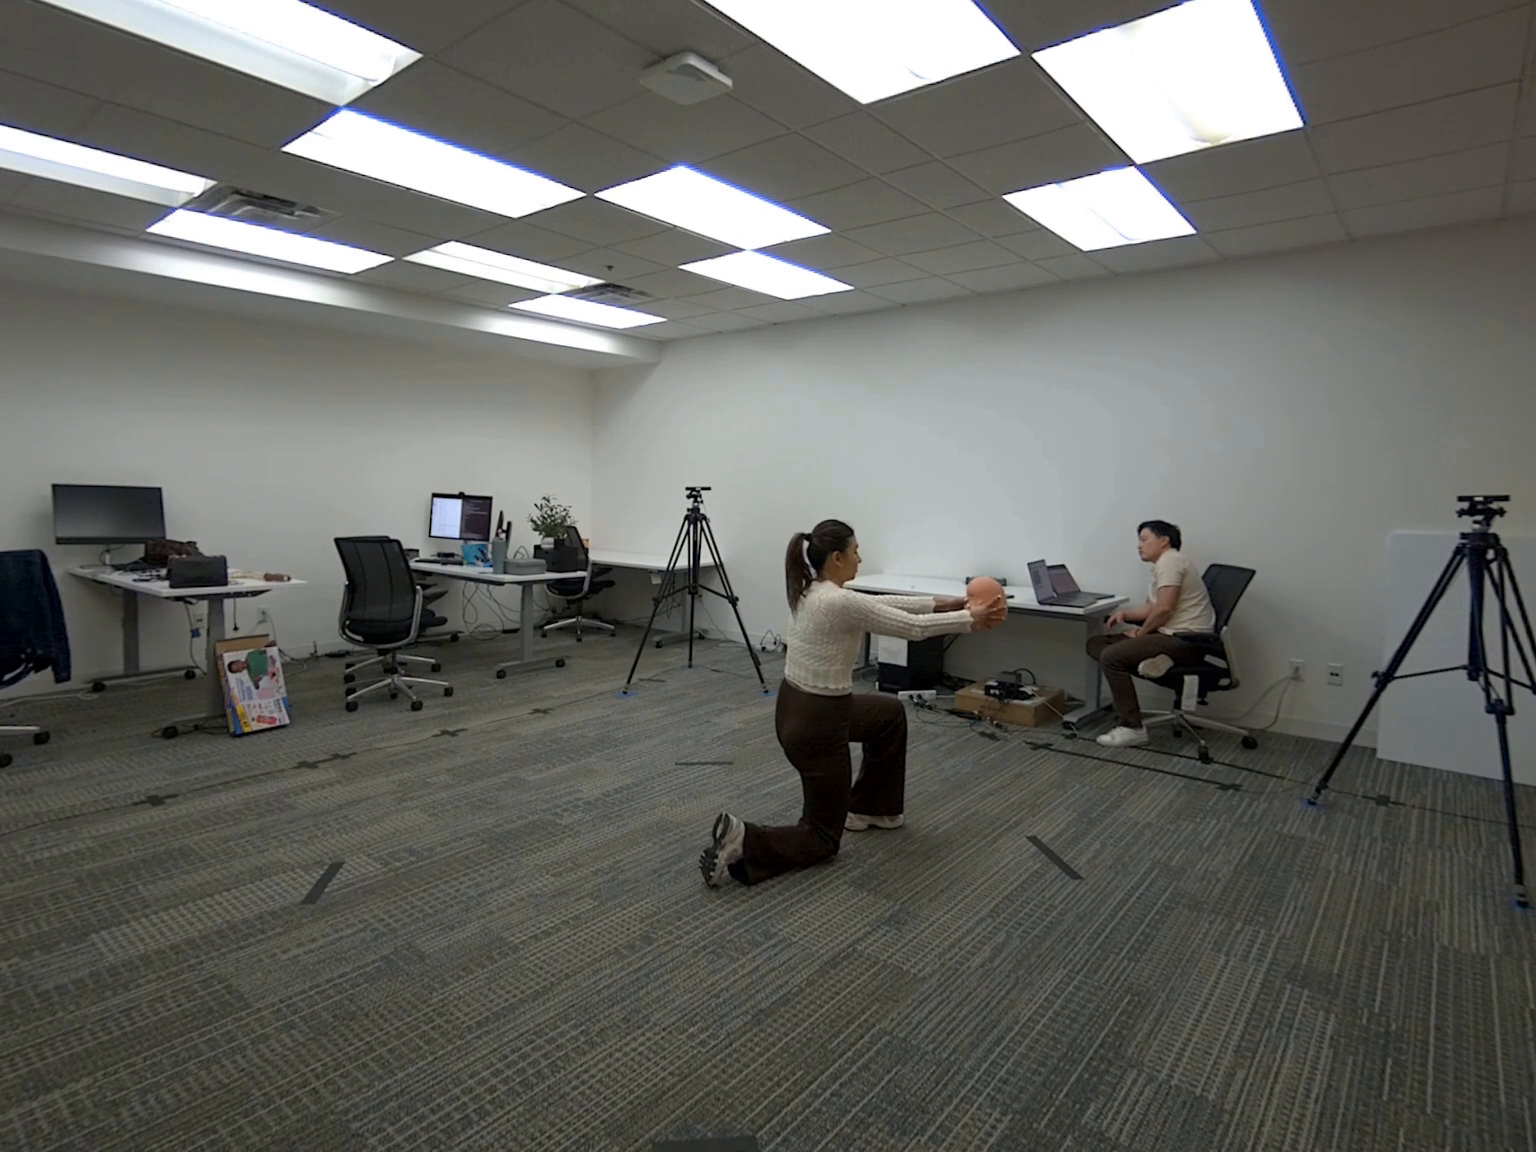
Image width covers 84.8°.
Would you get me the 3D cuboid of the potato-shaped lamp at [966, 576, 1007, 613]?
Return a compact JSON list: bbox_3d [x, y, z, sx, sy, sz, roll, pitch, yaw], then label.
[{"bbox_3d":[0.850,0.101,3.409,0.170,0.197,0.167,-14,5,-12],"label":"potato-shaped lamp"}]
